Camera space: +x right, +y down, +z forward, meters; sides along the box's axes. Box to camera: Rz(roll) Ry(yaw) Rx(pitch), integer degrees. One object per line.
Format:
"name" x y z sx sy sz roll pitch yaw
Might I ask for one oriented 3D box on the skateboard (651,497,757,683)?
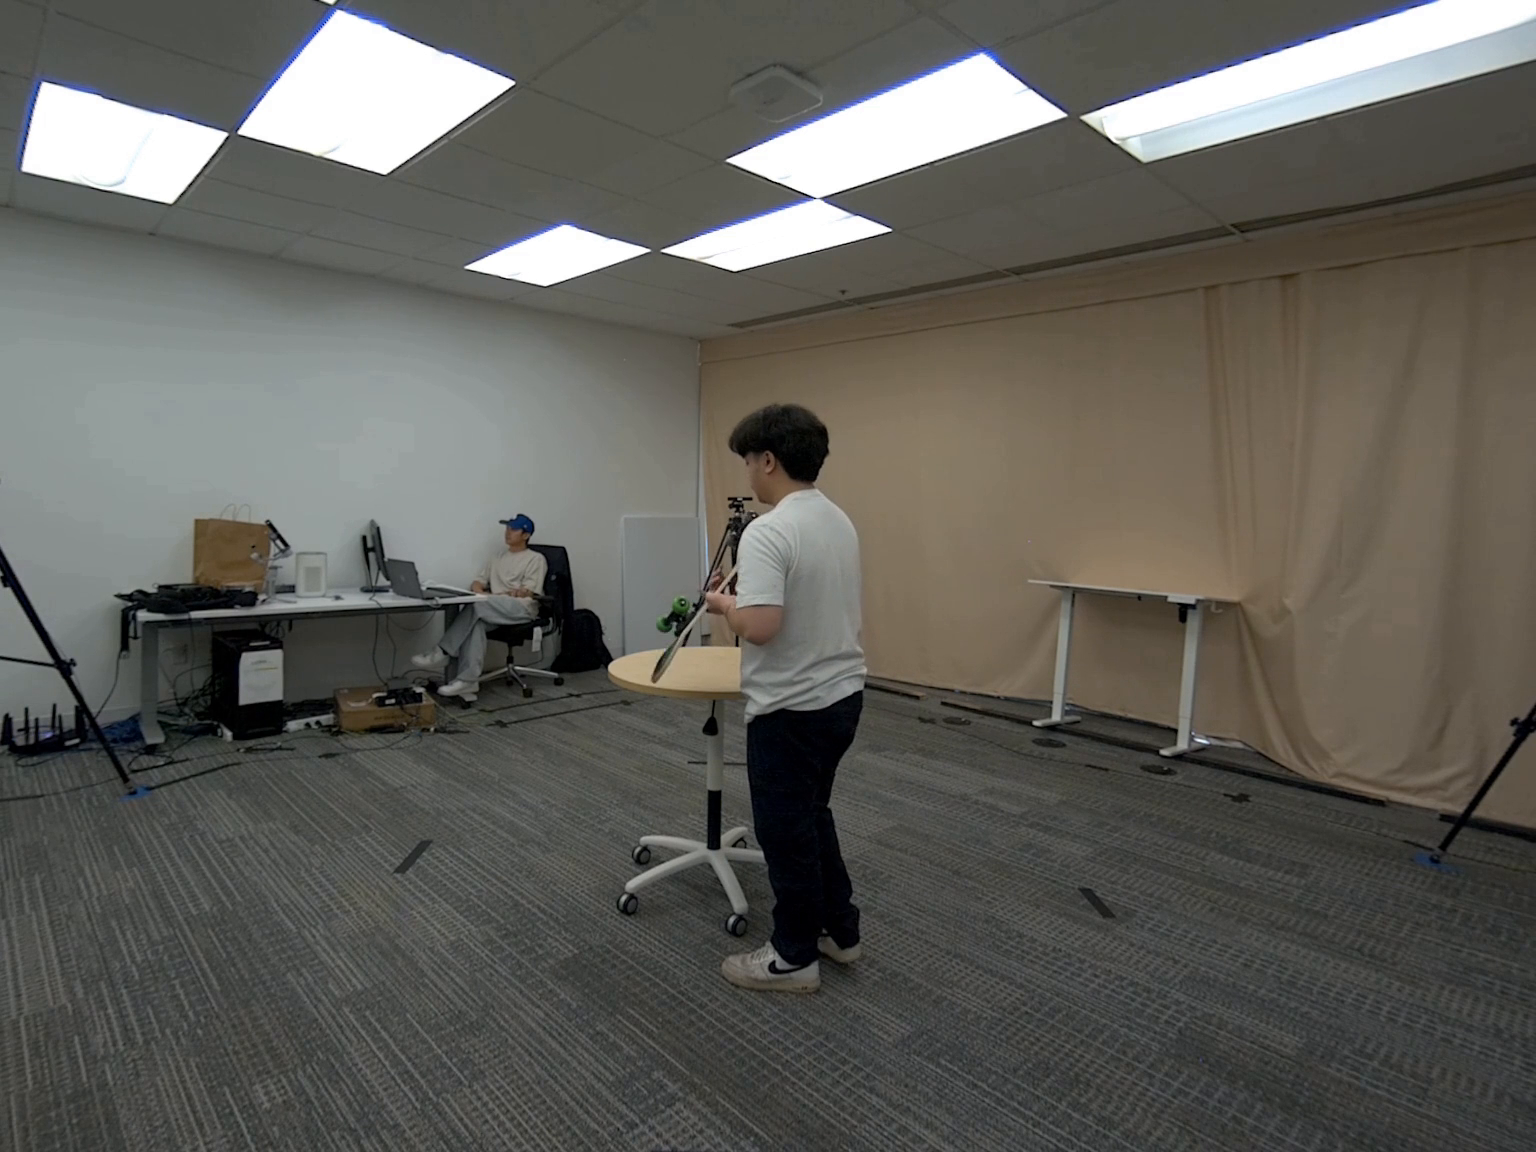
"skateboard" -0.172 0.002 2.573 0.110 0.788 0.193 38 -36 -4
